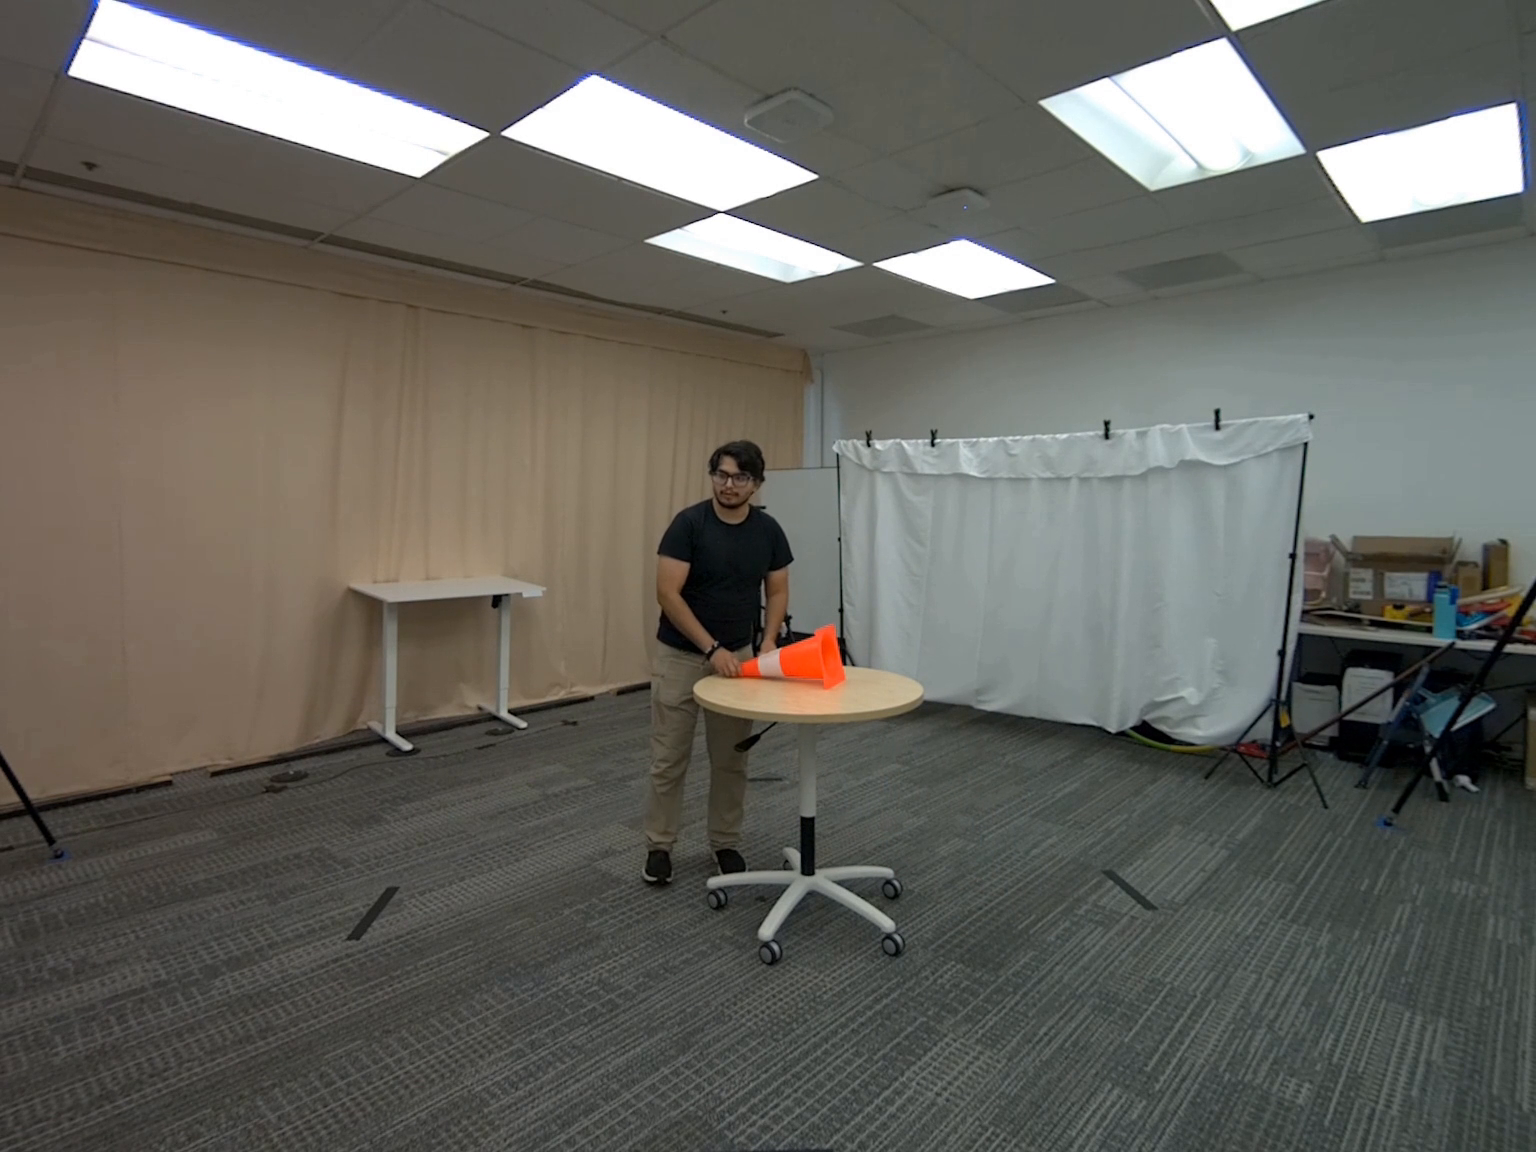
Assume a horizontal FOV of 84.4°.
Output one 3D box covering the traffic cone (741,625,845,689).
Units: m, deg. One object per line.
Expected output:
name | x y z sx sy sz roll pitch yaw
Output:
traffic cone | 0.048 0.314 2.934 0.391 0.205 0.199 -13 -2 24
